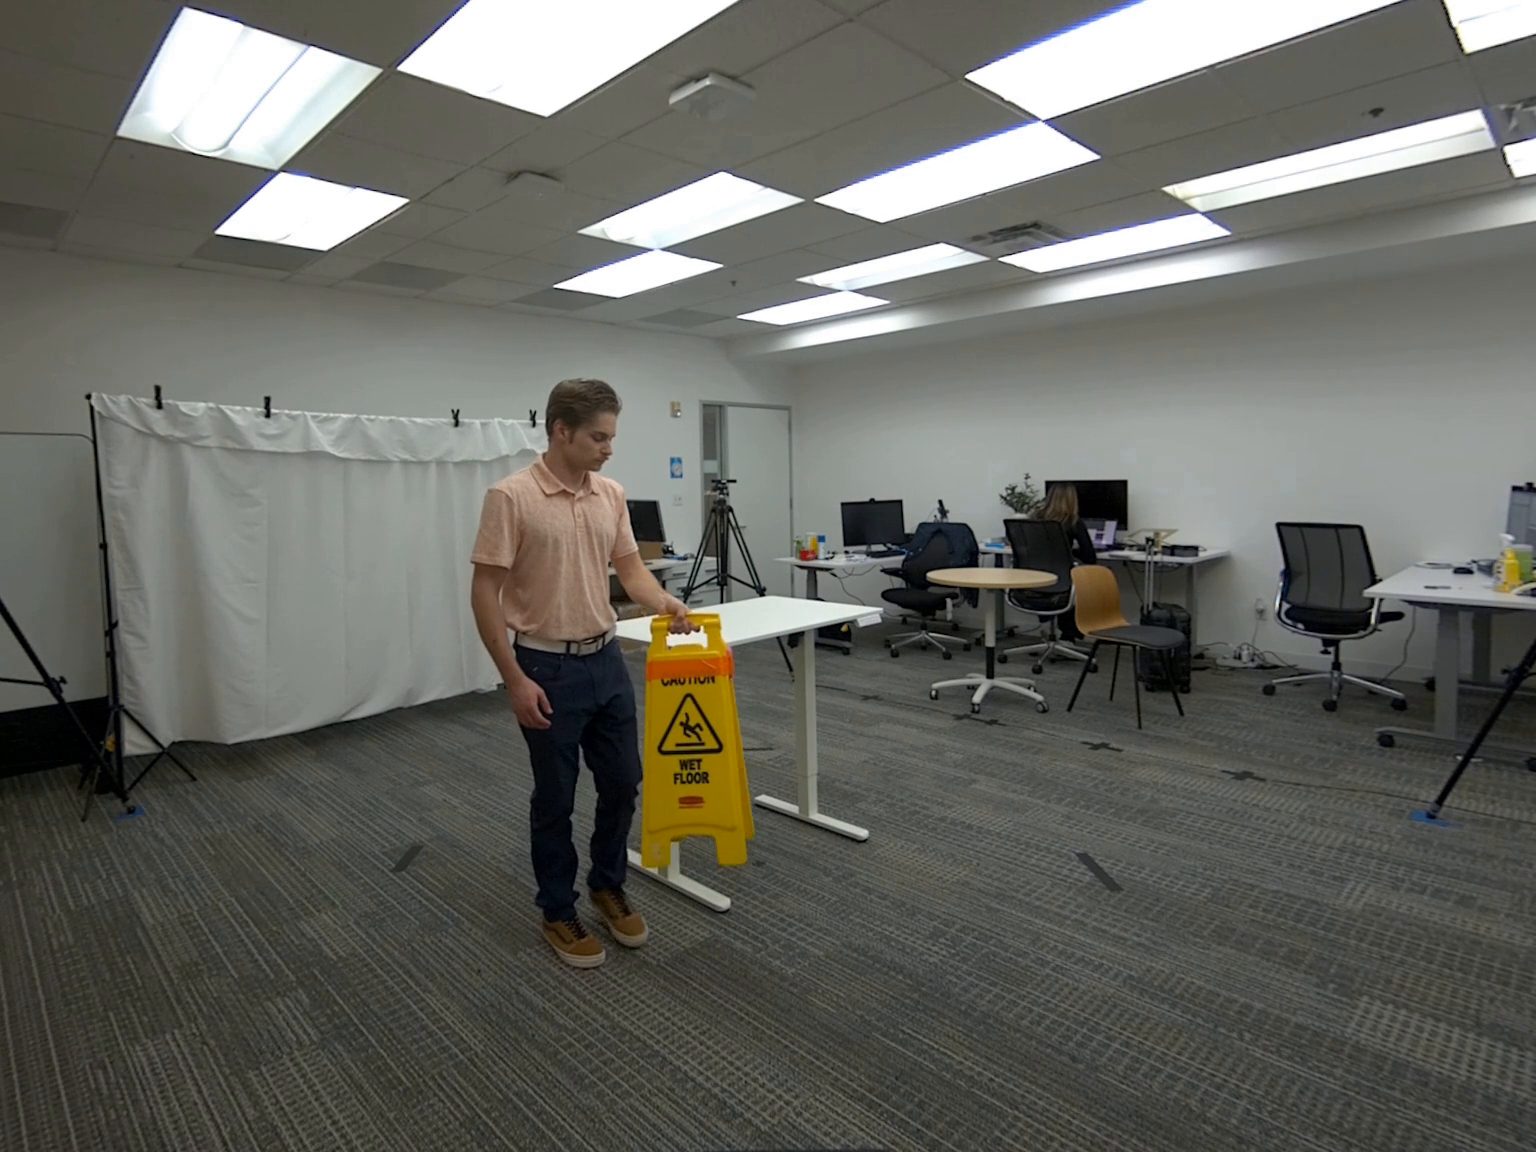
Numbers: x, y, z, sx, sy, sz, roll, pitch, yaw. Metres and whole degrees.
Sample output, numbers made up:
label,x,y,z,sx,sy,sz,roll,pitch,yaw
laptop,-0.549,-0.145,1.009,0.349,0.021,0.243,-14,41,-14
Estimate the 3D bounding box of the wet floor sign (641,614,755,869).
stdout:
label,x,y,z,sx,sy,sz,roll,pitch,yaw
wet floor sign,-0.206,0.432,2.363,0.283,0.648,0.288,-5,-3,3
